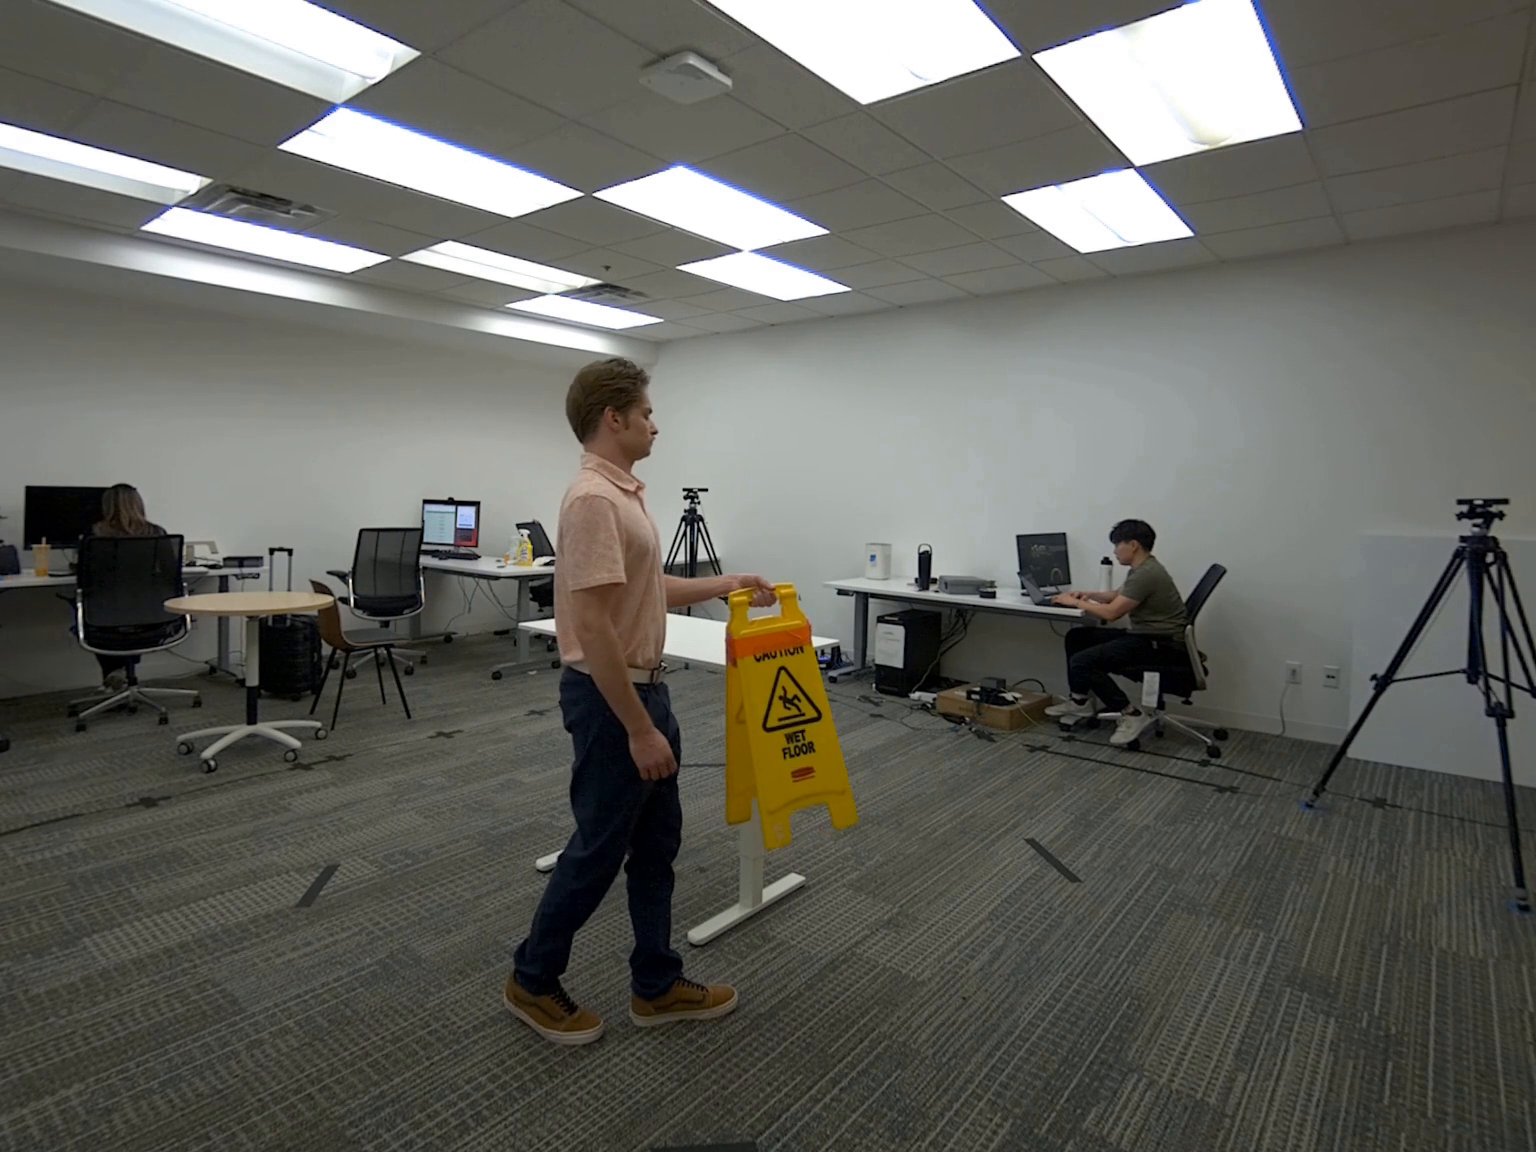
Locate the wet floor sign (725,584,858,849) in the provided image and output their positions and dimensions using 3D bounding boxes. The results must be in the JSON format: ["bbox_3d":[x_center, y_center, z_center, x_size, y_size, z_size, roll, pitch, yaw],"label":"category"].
[{"bbox_3d":[0.016,0.348,2.300,0.276,0.647,0.296,-6,0,-24],"label":"wet floor sign"}]
